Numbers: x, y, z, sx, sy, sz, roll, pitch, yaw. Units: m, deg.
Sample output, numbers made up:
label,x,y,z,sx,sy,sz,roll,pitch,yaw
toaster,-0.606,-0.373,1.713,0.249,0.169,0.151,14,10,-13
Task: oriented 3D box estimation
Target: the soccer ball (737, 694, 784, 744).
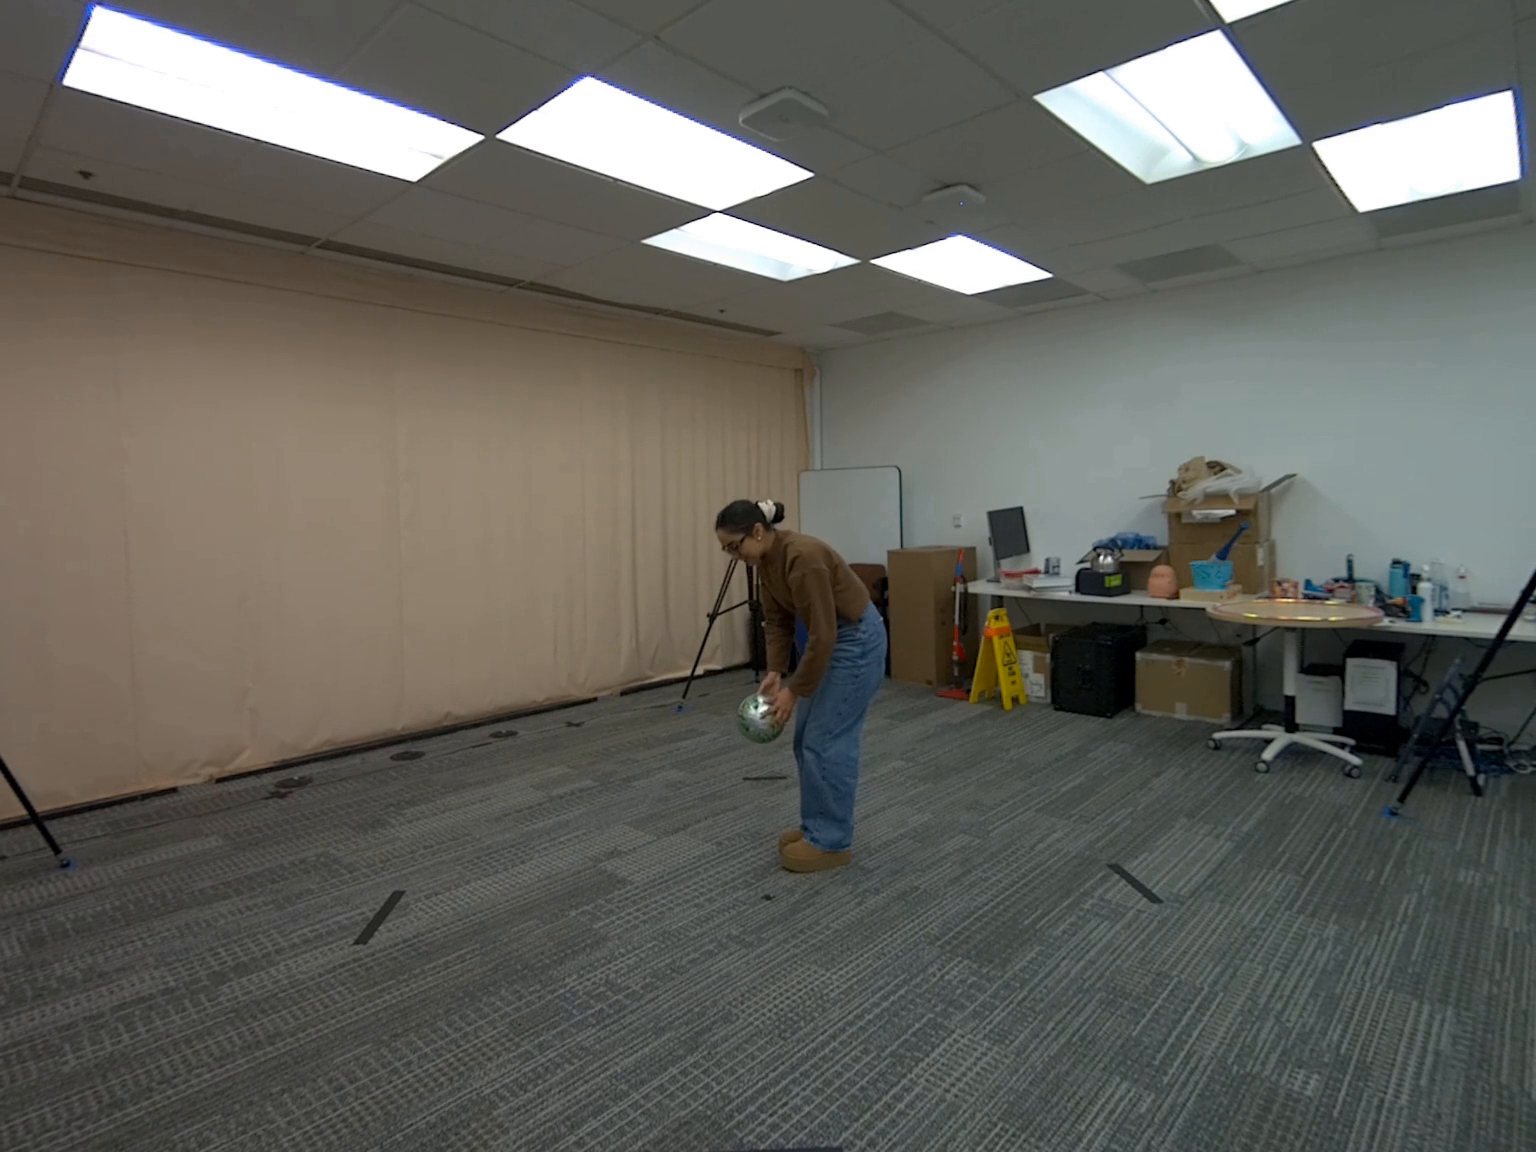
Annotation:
label,x,y,z,sx,sy,sz,roll,pitch,yaw
soccer ball,-0.023,0.543,3.229,0.187,0.187,0.188,-1,4,-2
